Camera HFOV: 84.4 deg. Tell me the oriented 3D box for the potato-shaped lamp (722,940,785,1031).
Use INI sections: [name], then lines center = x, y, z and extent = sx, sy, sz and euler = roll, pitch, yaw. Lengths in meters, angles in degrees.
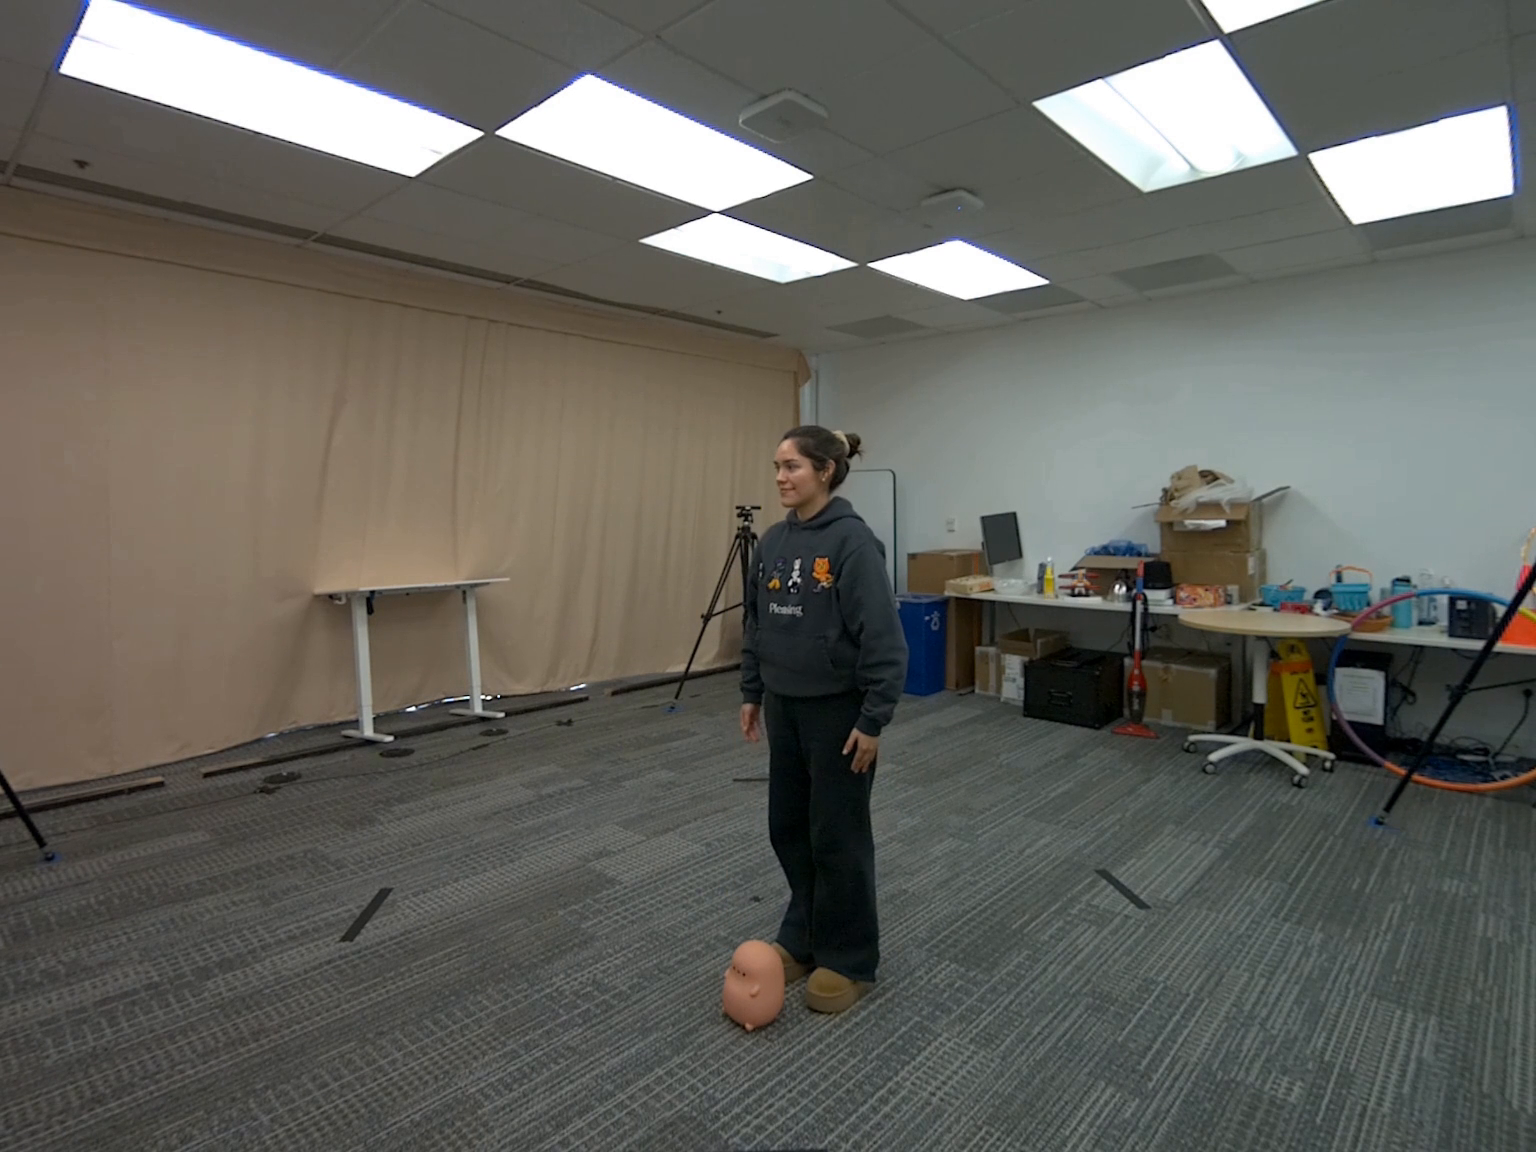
[potato-shaped lamp]
center = -0.025, 1.118, 2.296
extent = 0.176, 0.200, 0.159
euler = -13, -31, 34
